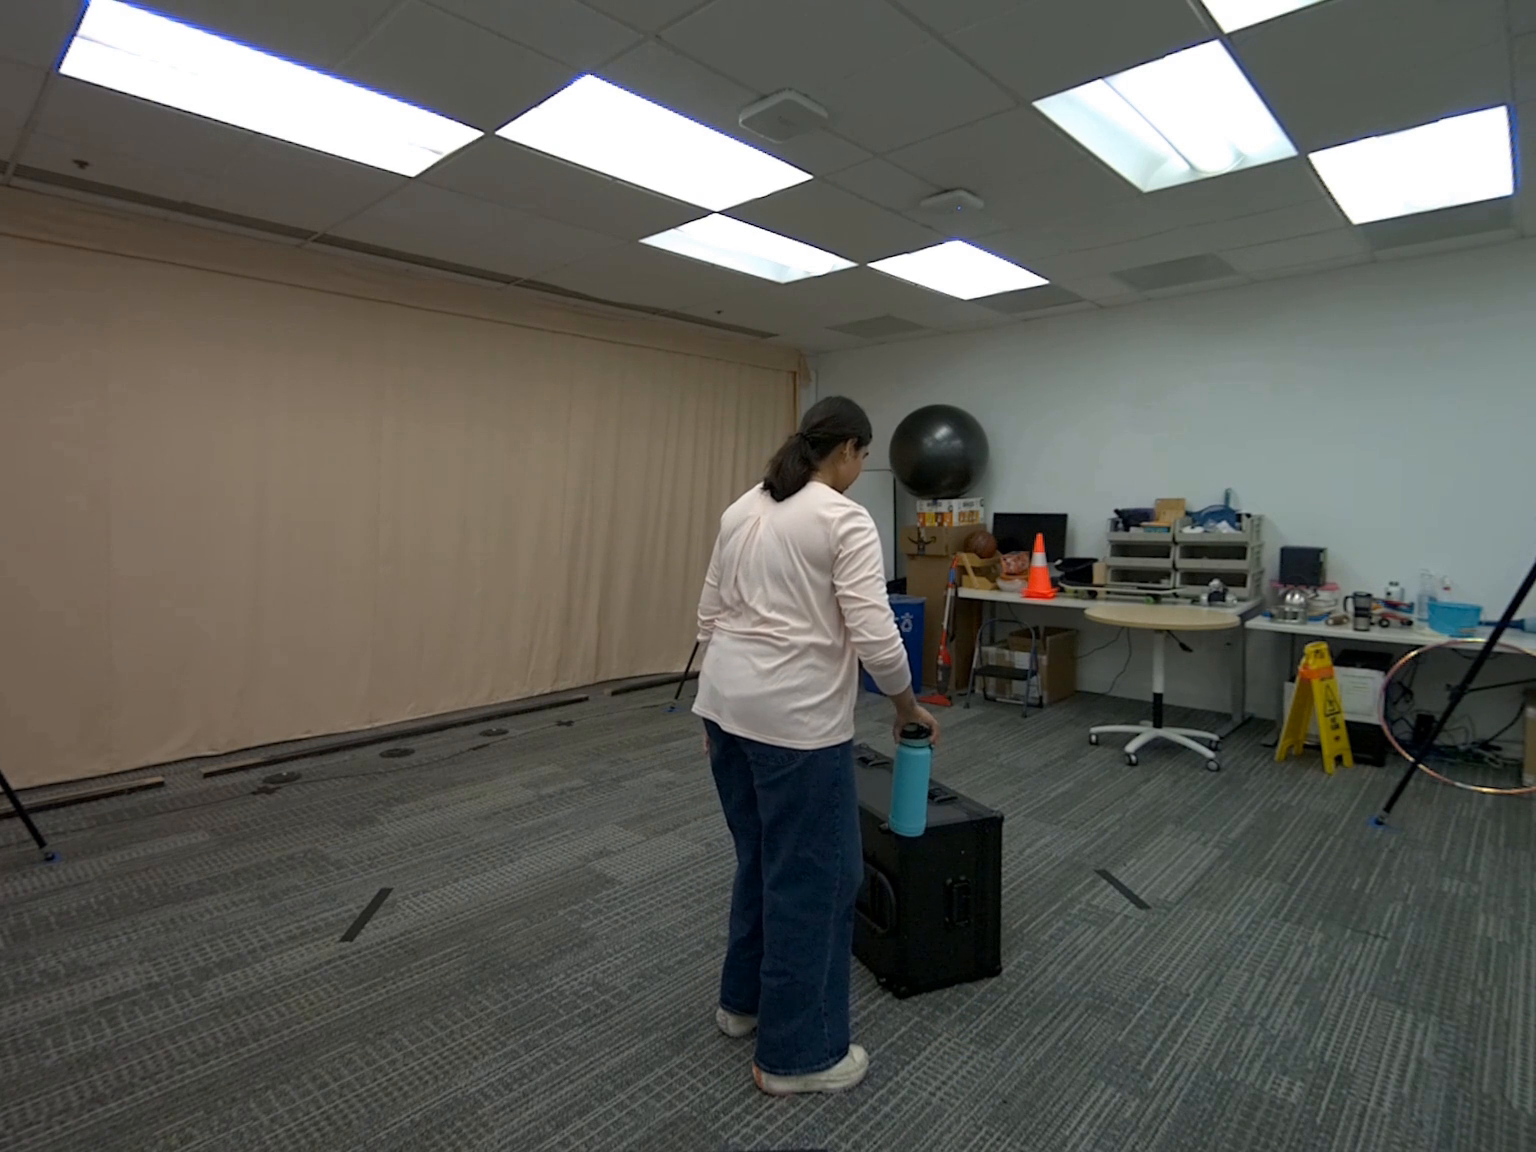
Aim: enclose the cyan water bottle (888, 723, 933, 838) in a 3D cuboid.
[{"bbox_3d":[0.369,0.510,2.110,0.092,0.282,0.093,2,8,-2],"label":"cyan water bottle"}]
